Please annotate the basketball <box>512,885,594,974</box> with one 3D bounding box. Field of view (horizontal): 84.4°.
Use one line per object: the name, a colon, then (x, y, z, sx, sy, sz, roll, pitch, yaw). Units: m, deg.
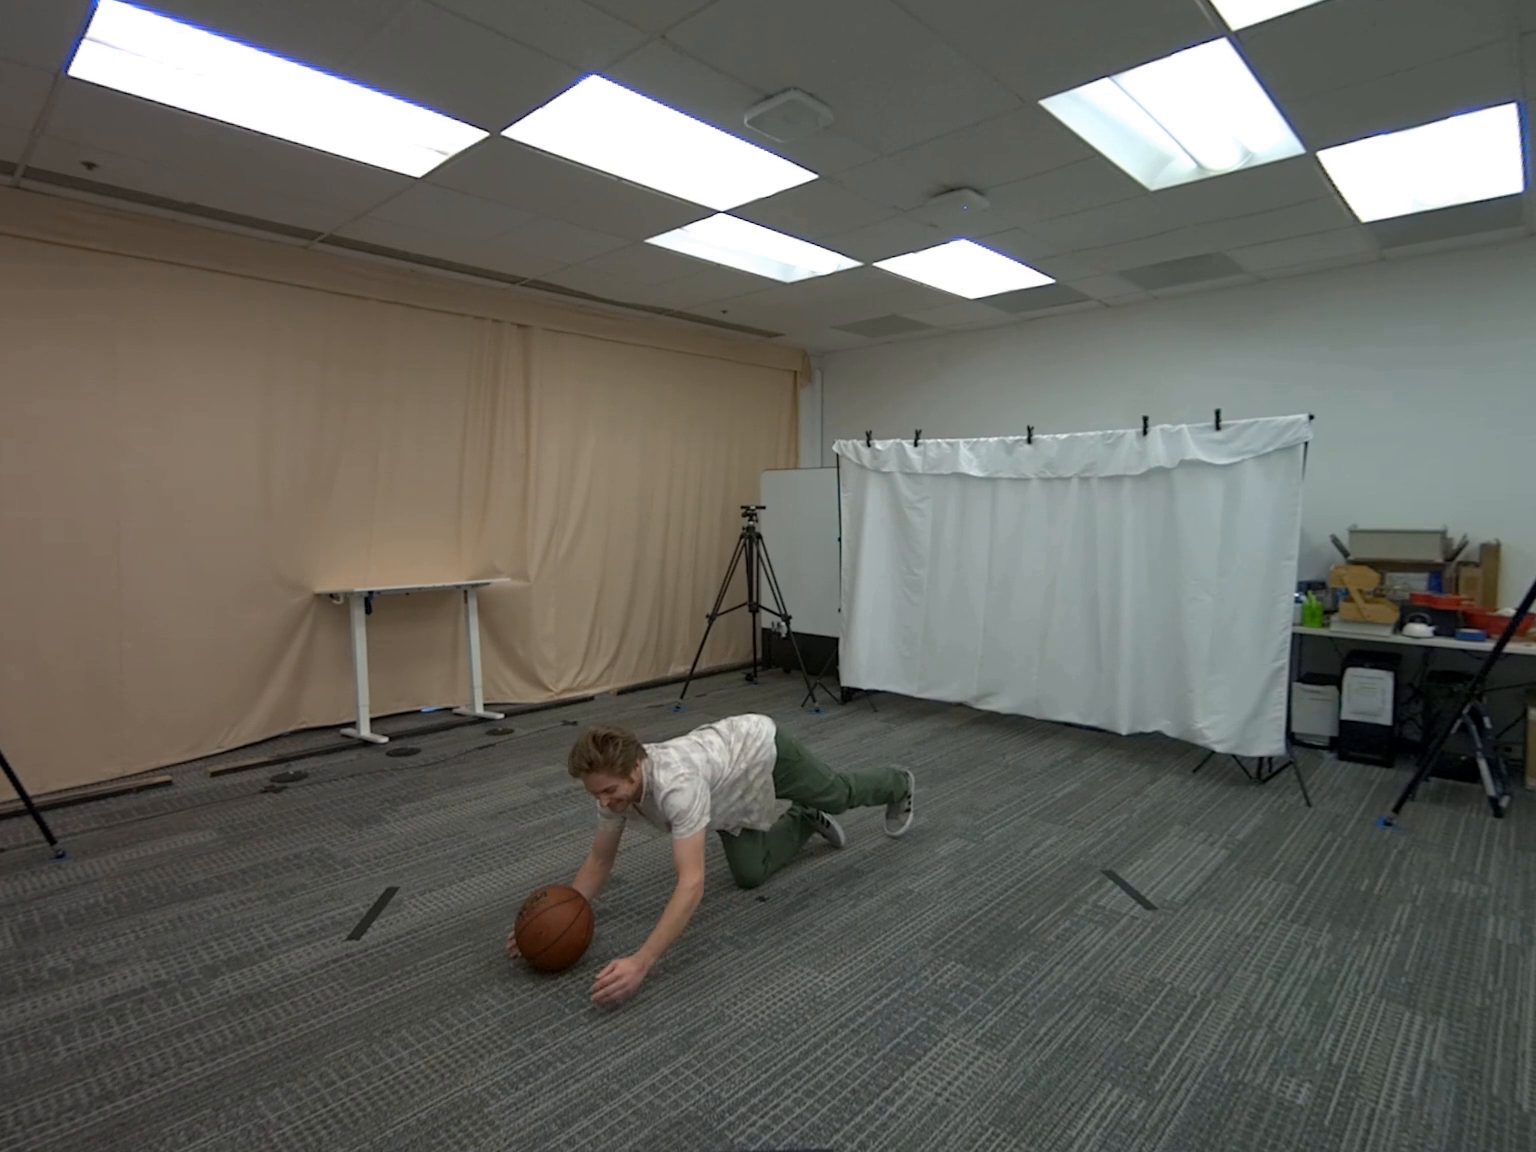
basketball: (-0.653, 1.062, 2.548, 0.236, 0.235, 0.237, 0, 4, -2)
